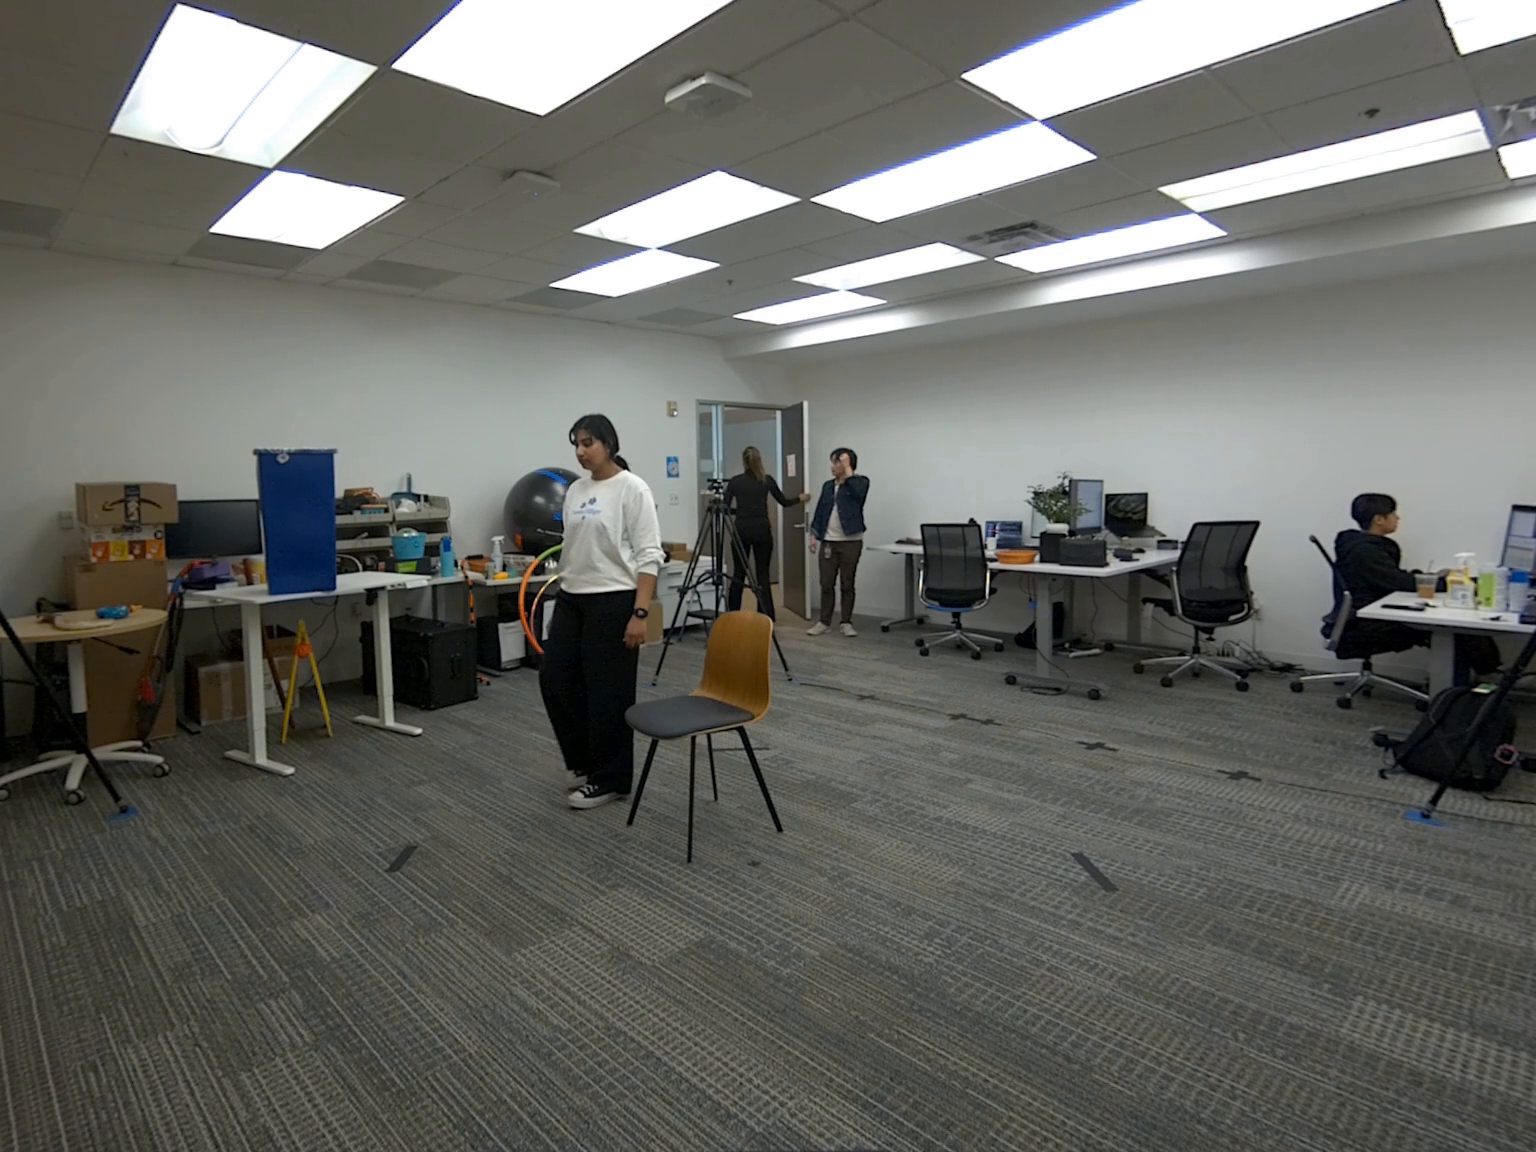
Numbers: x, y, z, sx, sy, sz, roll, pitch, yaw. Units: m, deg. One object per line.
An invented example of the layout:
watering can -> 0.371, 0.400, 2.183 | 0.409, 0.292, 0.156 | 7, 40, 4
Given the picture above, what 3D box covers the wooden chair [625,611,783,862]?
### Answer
wooden chair -> -0.267, 0.589, 3.390 | 0.508, 0.876, 0.492 | 2, 2, -38
